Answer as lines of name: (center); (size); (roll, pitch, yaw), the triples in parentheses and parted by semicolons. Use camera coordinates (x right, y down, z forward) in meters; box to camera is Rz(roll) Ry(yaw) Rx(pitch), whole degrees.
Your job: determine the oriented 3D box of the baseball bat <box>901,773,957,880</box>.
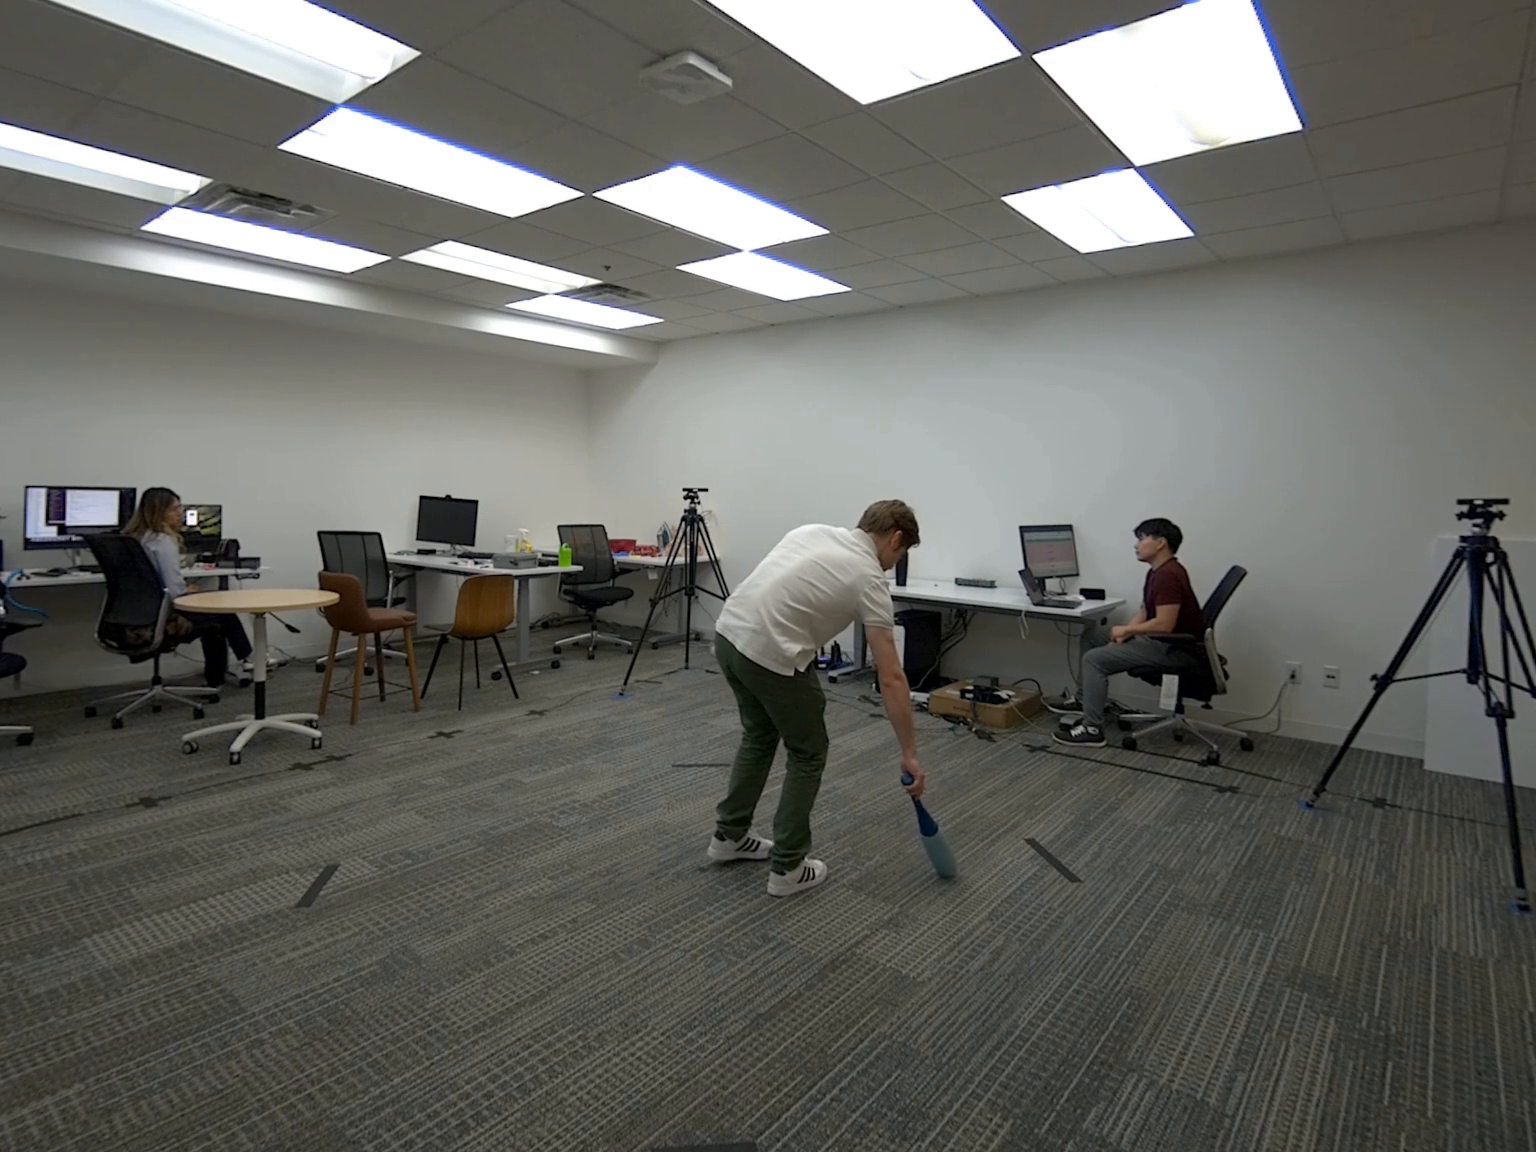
baseball bat: (0.546, 0.872, 2.984); (0.090, 0.524, 0.091); (-19, 33, 12)
